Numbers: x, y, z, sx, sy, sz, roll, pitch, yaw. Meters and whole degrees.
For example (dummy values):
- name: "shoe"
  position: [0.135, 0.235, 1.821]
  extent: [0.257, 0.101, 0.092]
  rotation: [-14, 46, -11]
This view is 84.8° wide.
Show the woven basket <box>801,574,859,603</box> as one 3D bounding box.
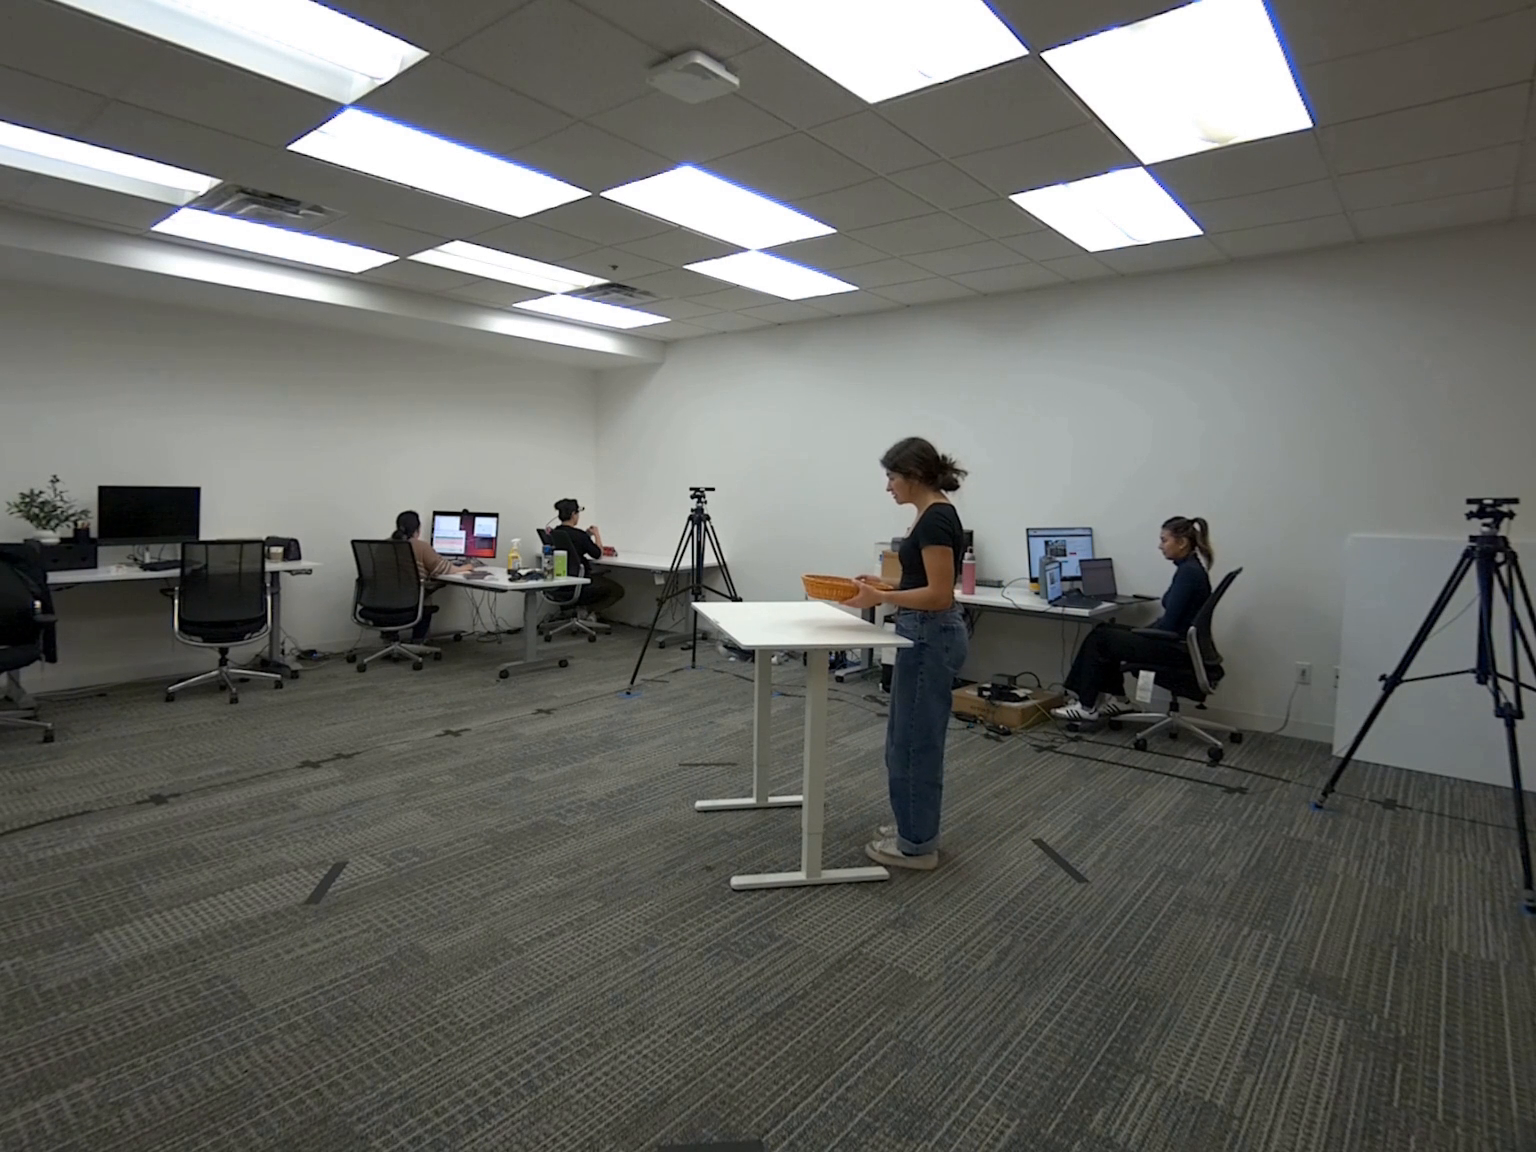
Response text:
- name: "woven basket"
  position: [0.281, 0.059, 3.171]
  extent: [0.361, 0.073, 0.246]
  rotation: [9, 7, 27]
